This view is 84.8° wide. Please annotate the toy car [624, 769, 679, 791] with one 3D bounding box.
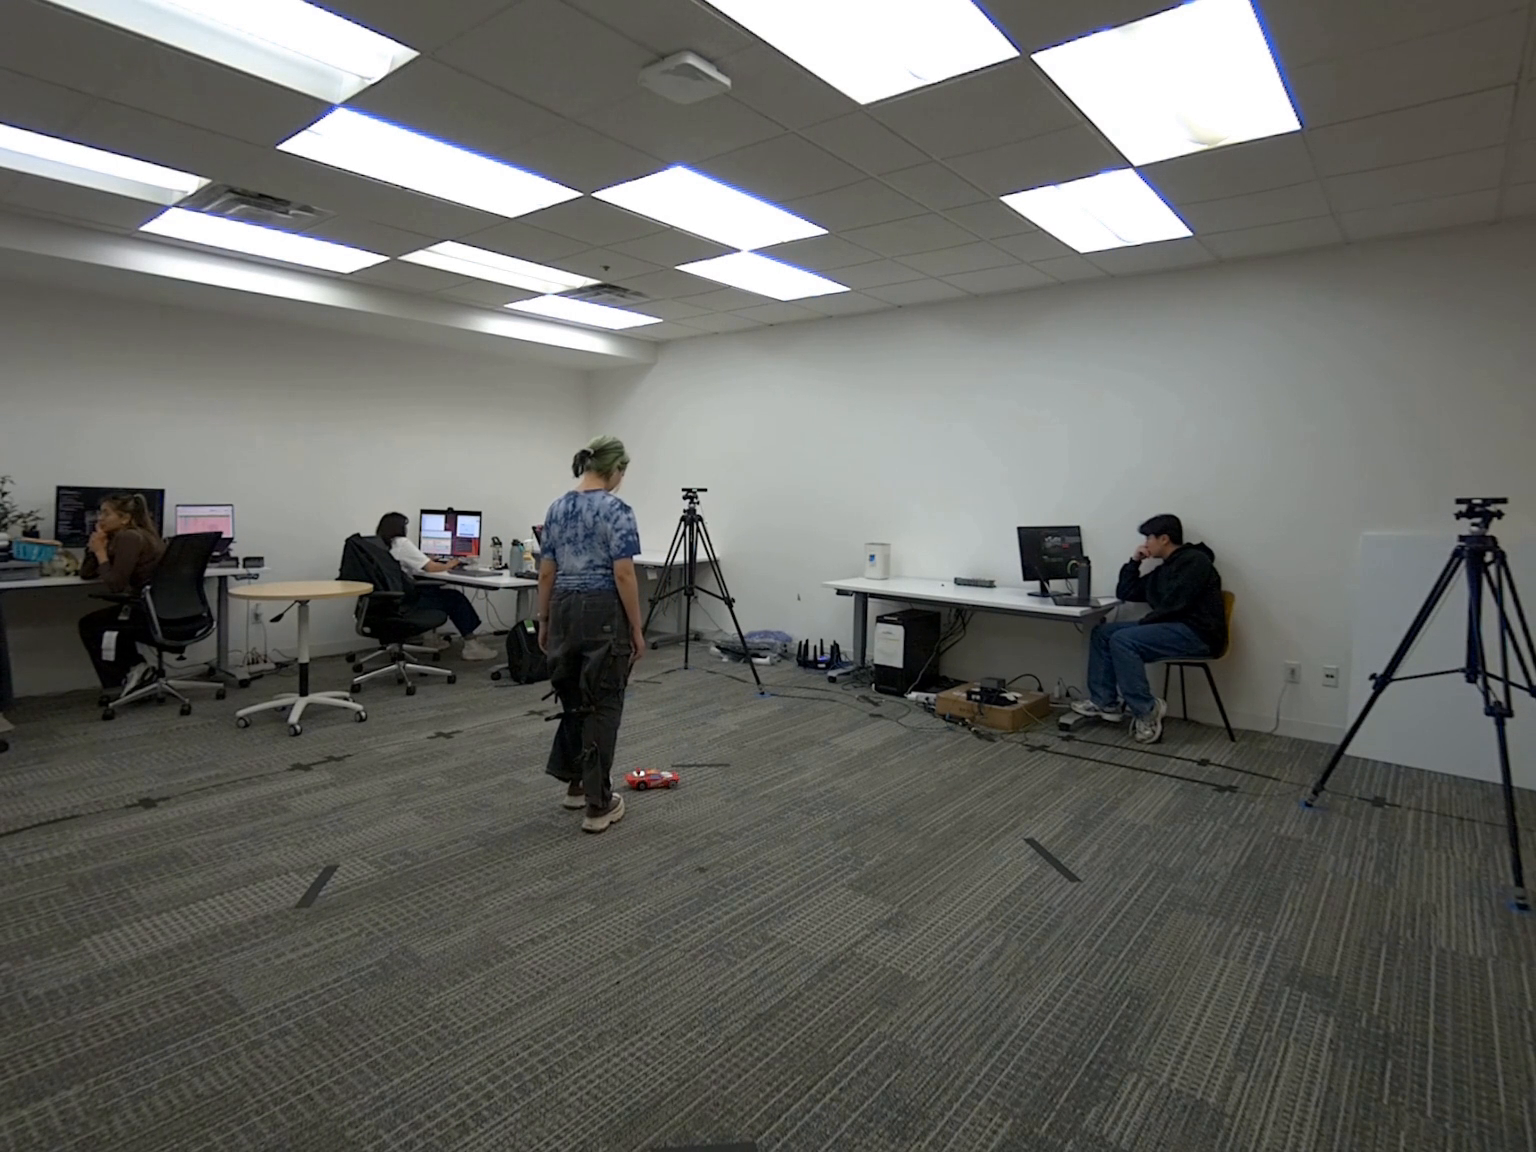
[{"bbox_3d":[-0.564,0.948,3.975,0.250,0.083,0.132,11,2,-14],"label":"toy car"}]
